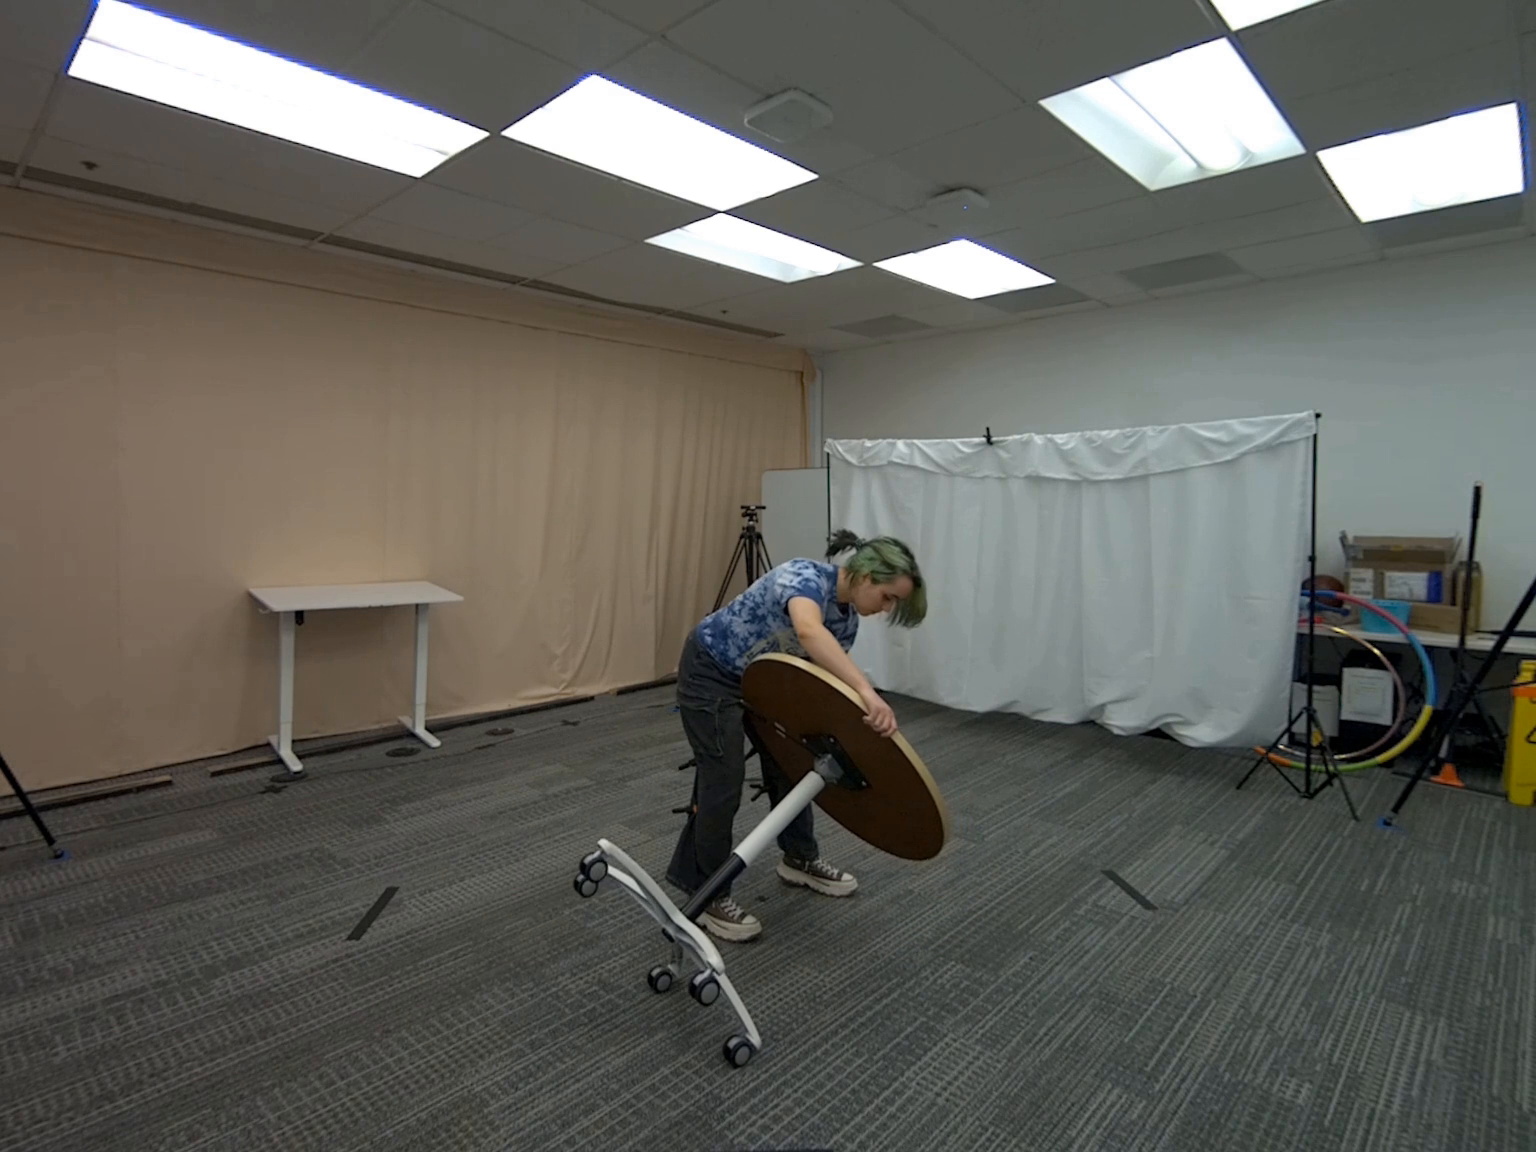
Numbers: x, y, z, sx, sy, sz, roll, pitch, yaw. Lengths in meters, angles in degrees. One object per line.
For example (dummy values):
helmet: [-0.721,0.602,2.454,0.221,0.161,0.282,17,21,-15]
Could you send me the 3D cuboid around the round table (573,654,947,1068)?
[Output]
round table: [-0.050,0.759,2.344,0.785,0.748,0.788,-39,24,-27]
